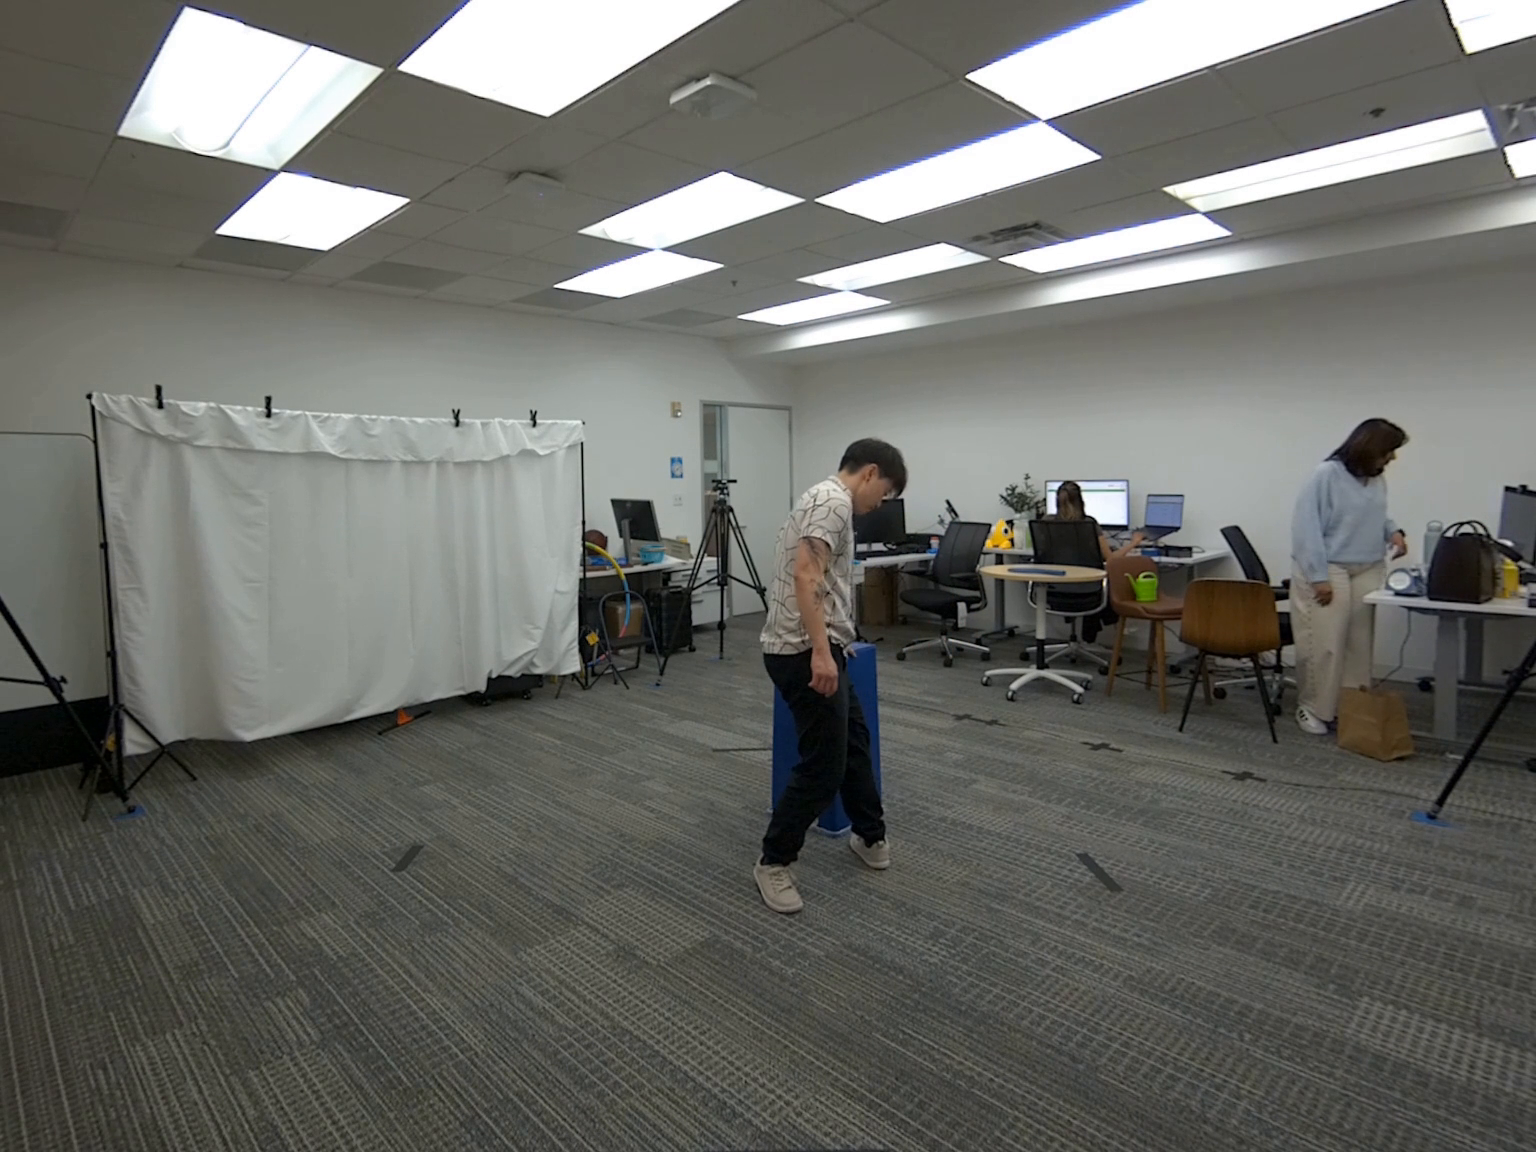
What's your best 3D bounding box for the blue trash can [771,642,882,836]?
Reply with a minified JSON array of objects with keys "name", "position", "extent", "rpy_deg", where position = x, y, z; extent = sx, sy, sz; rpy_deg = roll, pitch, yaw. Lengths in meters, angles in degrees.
[{"name":"blue trash can","position":[0.255,0.640,3.549],"extent":[0.390,0.711,0.364],"rpy_deg":[4,5,43]}]
